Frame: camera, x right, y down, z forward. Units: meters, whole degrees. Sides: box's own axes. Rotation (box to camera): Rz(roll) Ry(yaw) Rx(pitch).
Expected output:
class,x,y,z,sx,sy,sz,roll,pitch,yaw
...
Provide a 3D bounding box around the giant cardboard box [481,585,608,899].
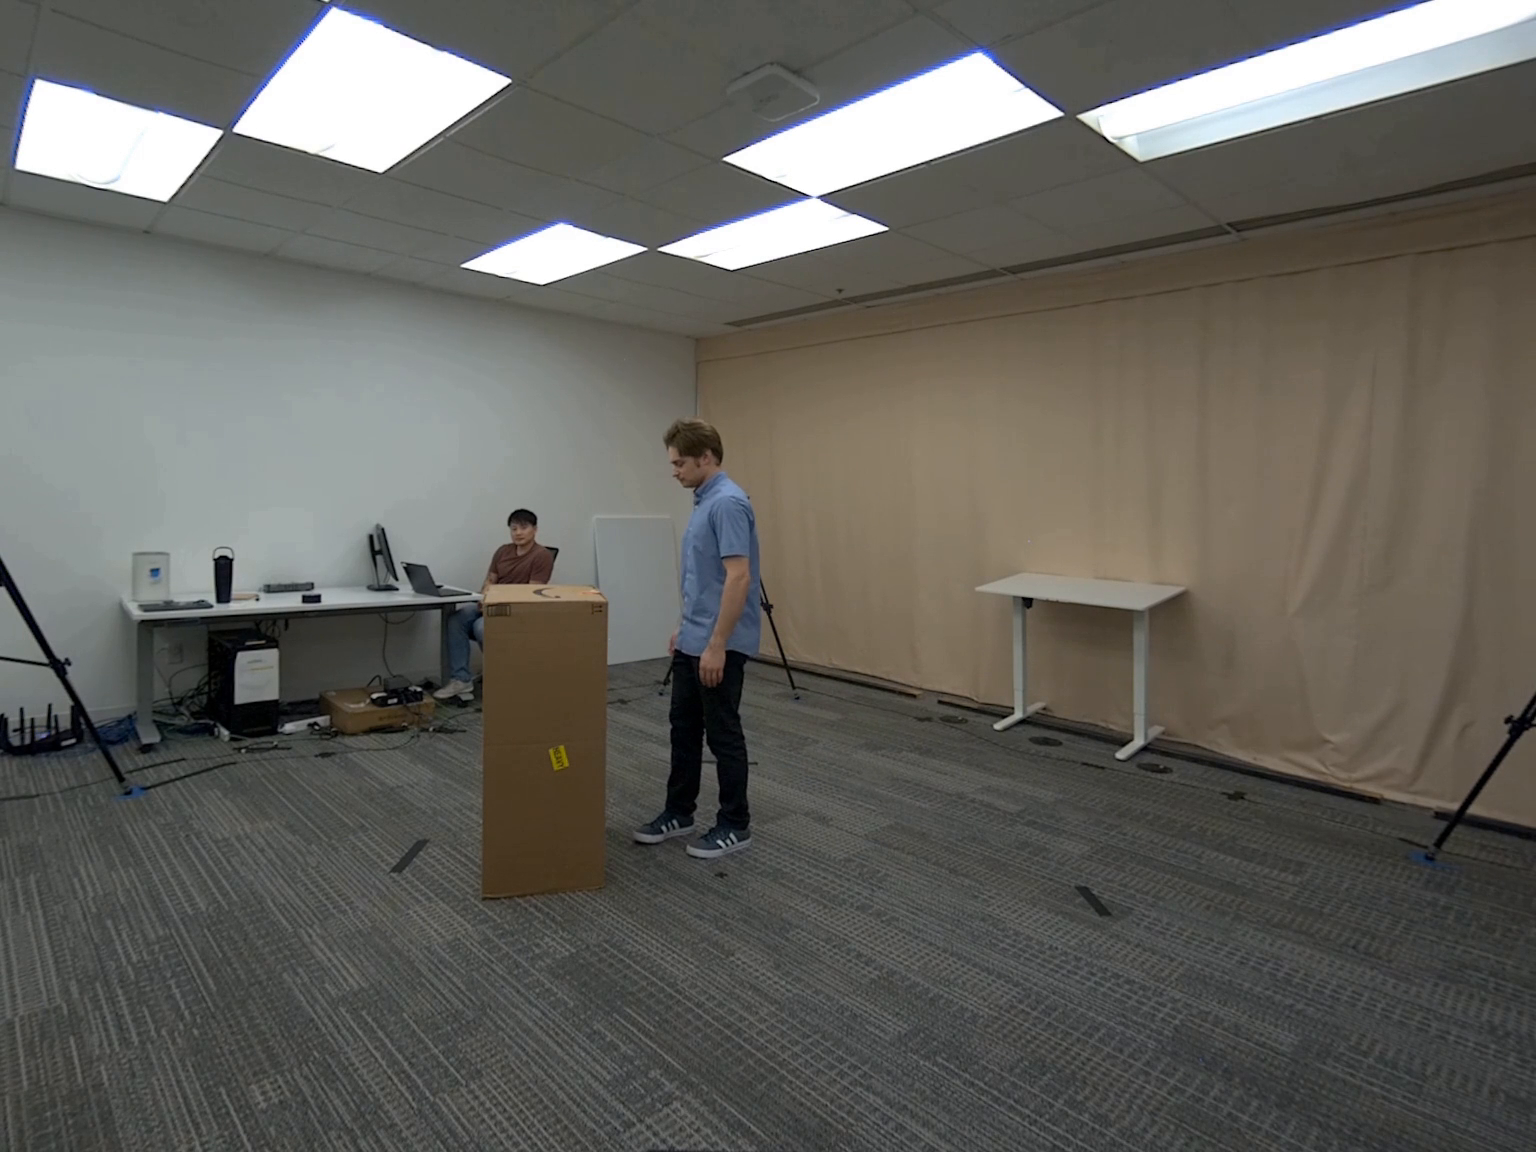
class,x,y,z,sx,sy,sz,roll,pitch,yaw
giant cardboard box,-0.858,0.577,3.171,0.441,1.025,0.593,0,3,-18
